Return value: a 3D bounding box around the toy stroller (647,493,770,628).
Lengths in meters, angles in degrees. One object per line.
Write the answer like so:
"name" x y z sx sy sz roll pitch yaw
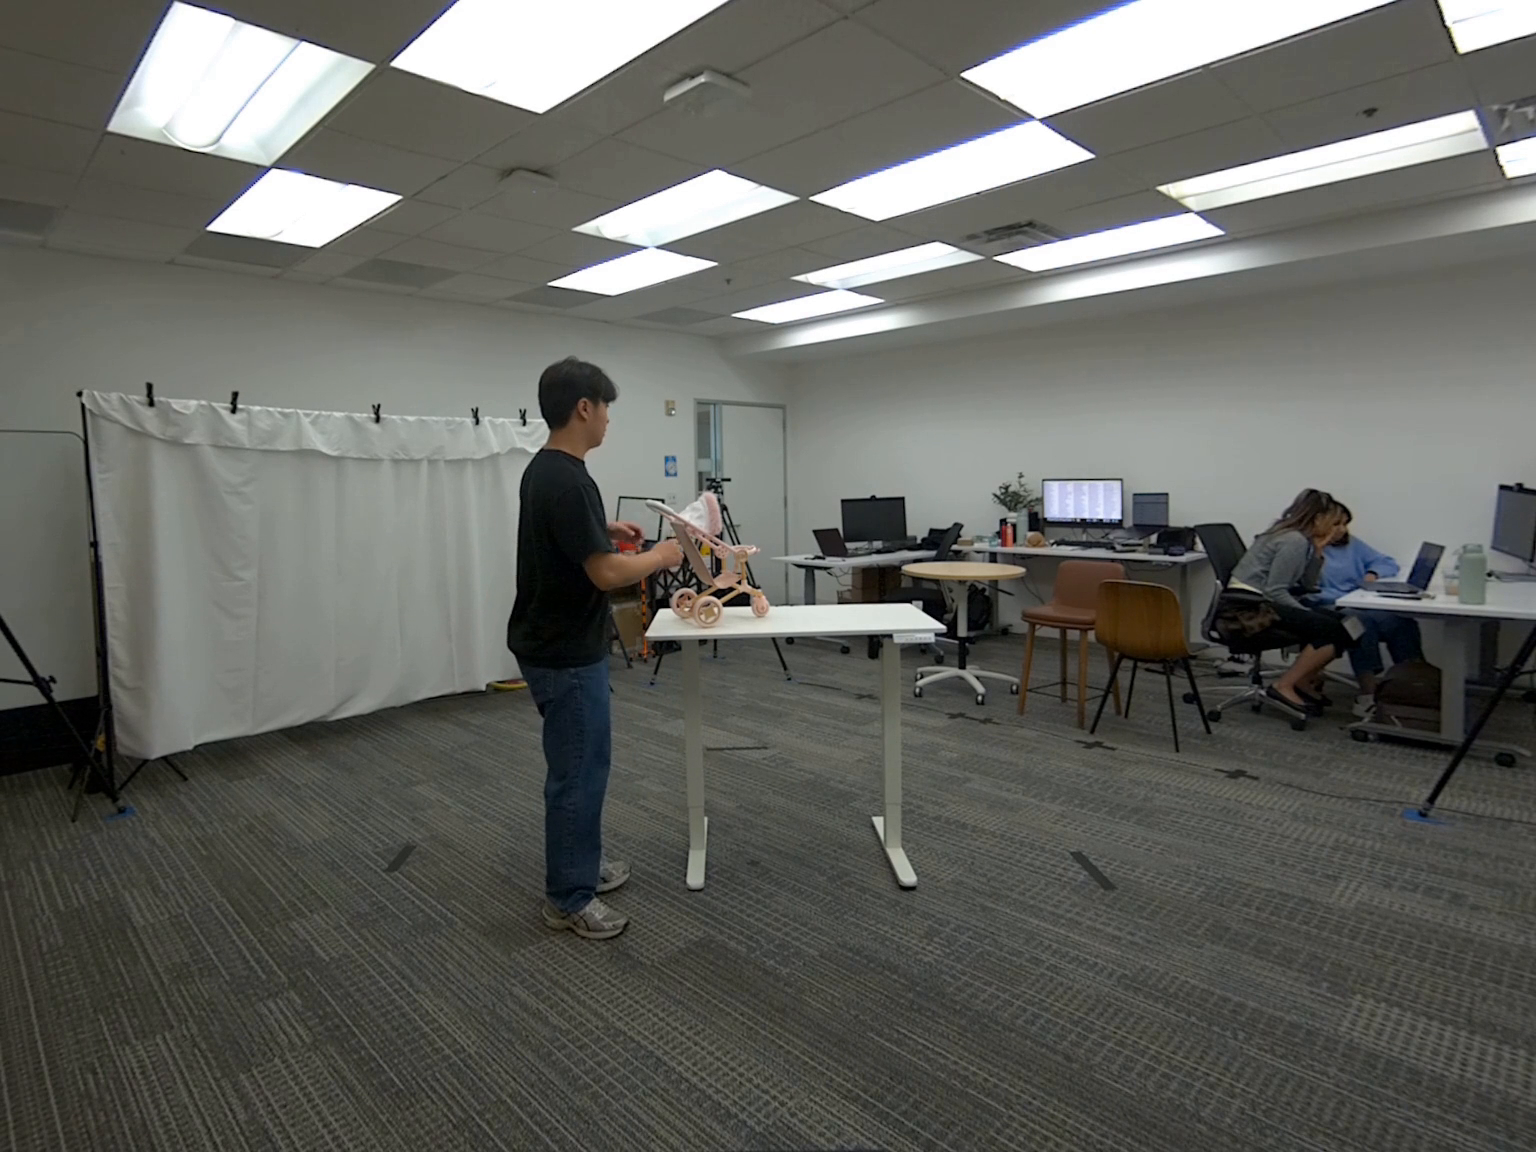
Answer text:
"toy stroller" -0.197 -0.061 3.089 0.338 0.530 0.287 -17 9 -15
